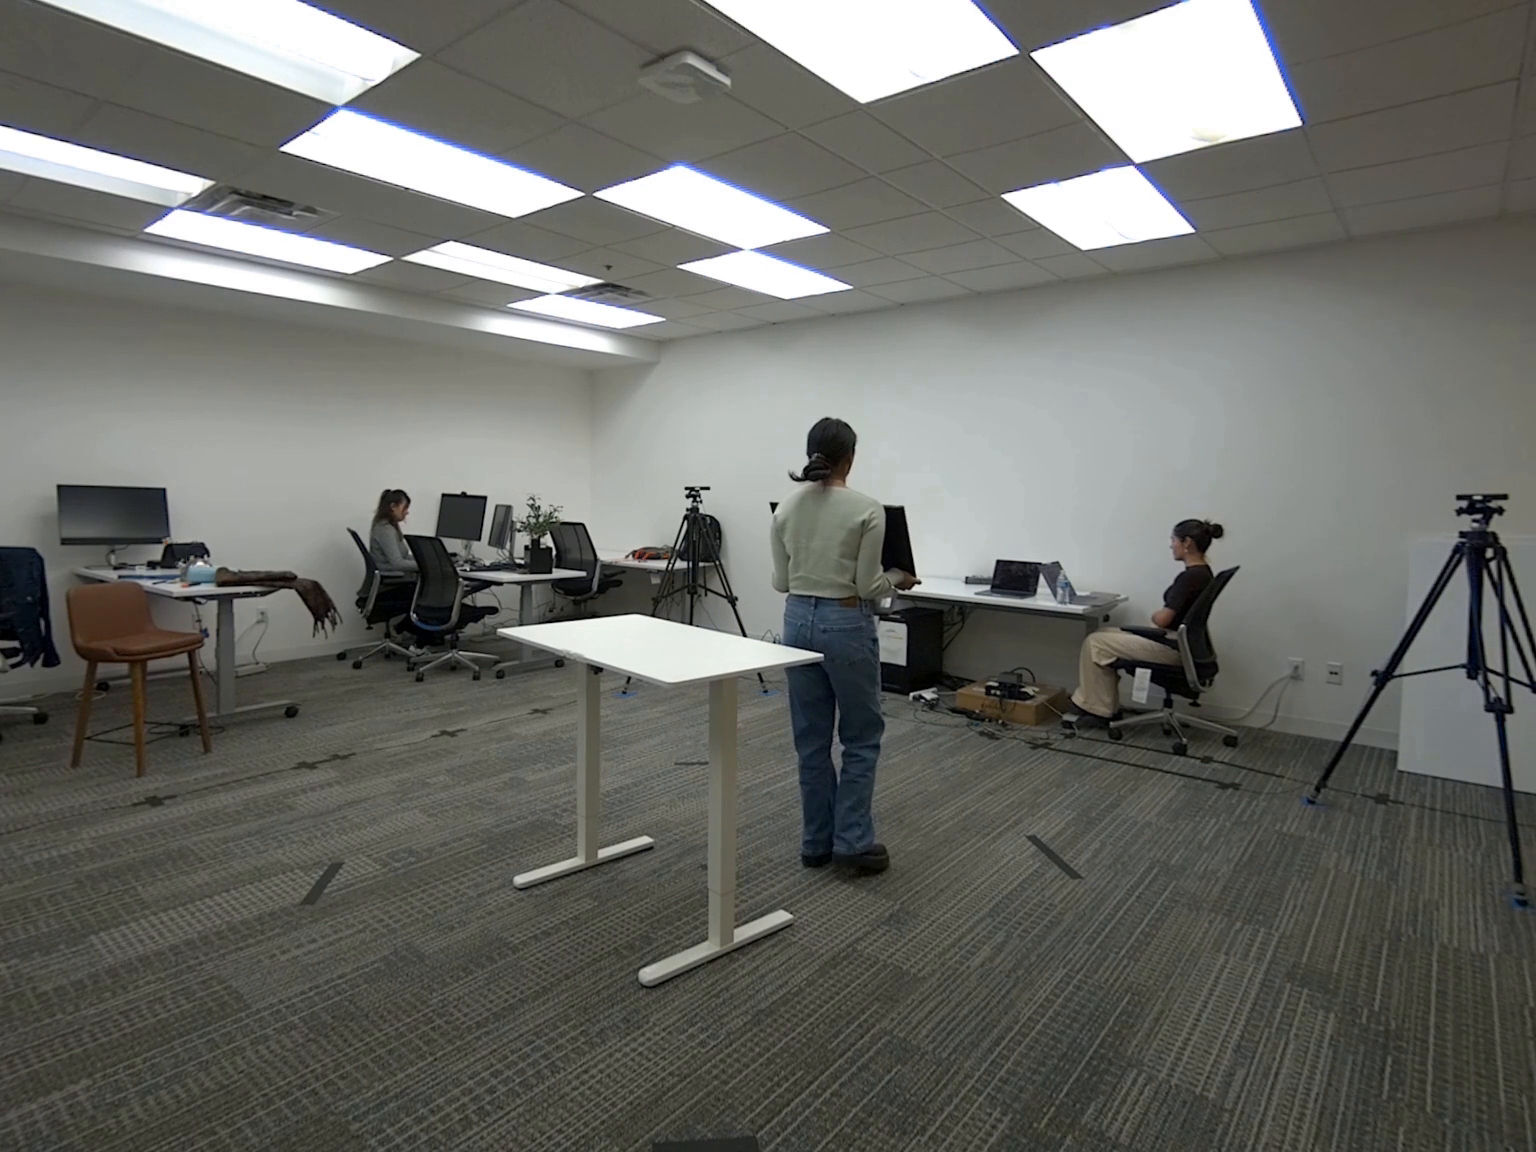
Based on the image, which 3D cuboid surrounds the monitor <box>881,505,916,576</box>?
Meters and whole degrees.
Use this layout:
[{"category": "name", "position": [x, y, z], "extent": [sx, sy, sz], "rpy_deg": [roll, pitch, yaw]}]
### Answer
[{"category": "monitor", "position": [0.312, -0.085, 3.307], "extent": [0.554, 0.503, 0.189], "rpy_deg": [3, 46, 28]}]
